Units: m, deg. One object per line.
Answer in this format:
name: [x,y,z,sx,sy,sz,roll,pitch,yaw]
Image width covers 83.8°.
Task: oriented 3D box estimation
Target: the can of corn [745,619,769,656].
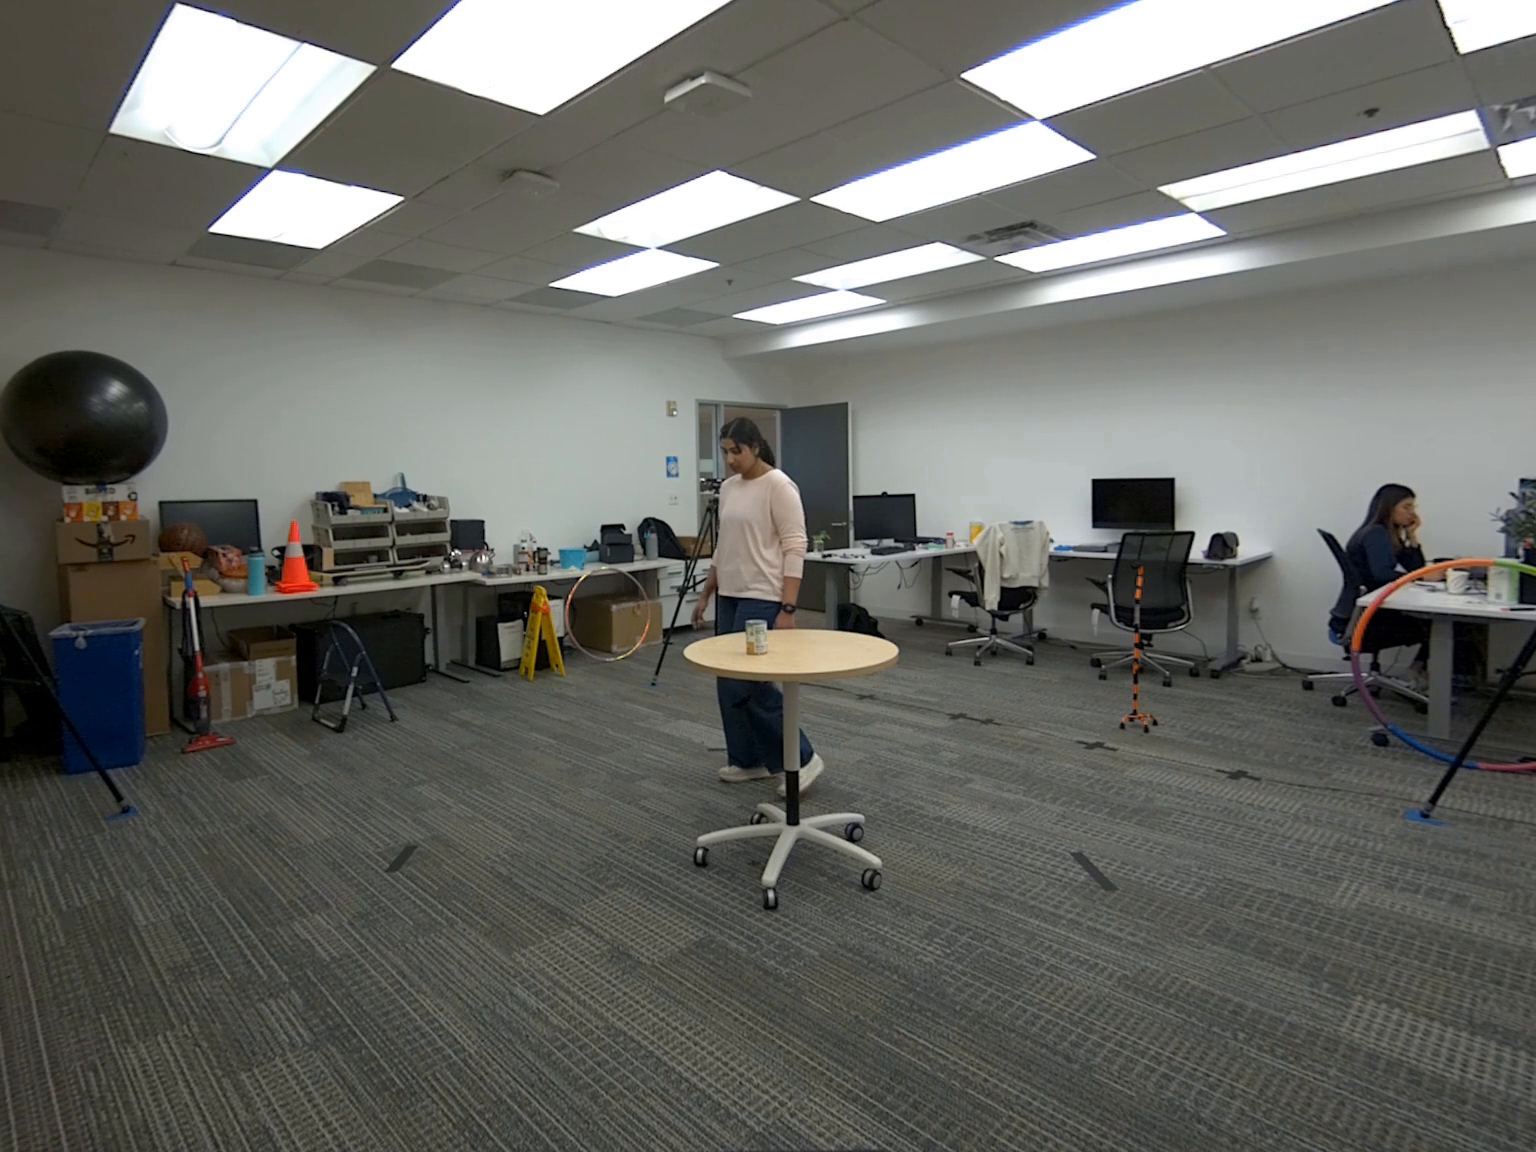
can of corn: [-0.042,0.219,3.006,0.074,0.110,0.074,0,5,-2]
